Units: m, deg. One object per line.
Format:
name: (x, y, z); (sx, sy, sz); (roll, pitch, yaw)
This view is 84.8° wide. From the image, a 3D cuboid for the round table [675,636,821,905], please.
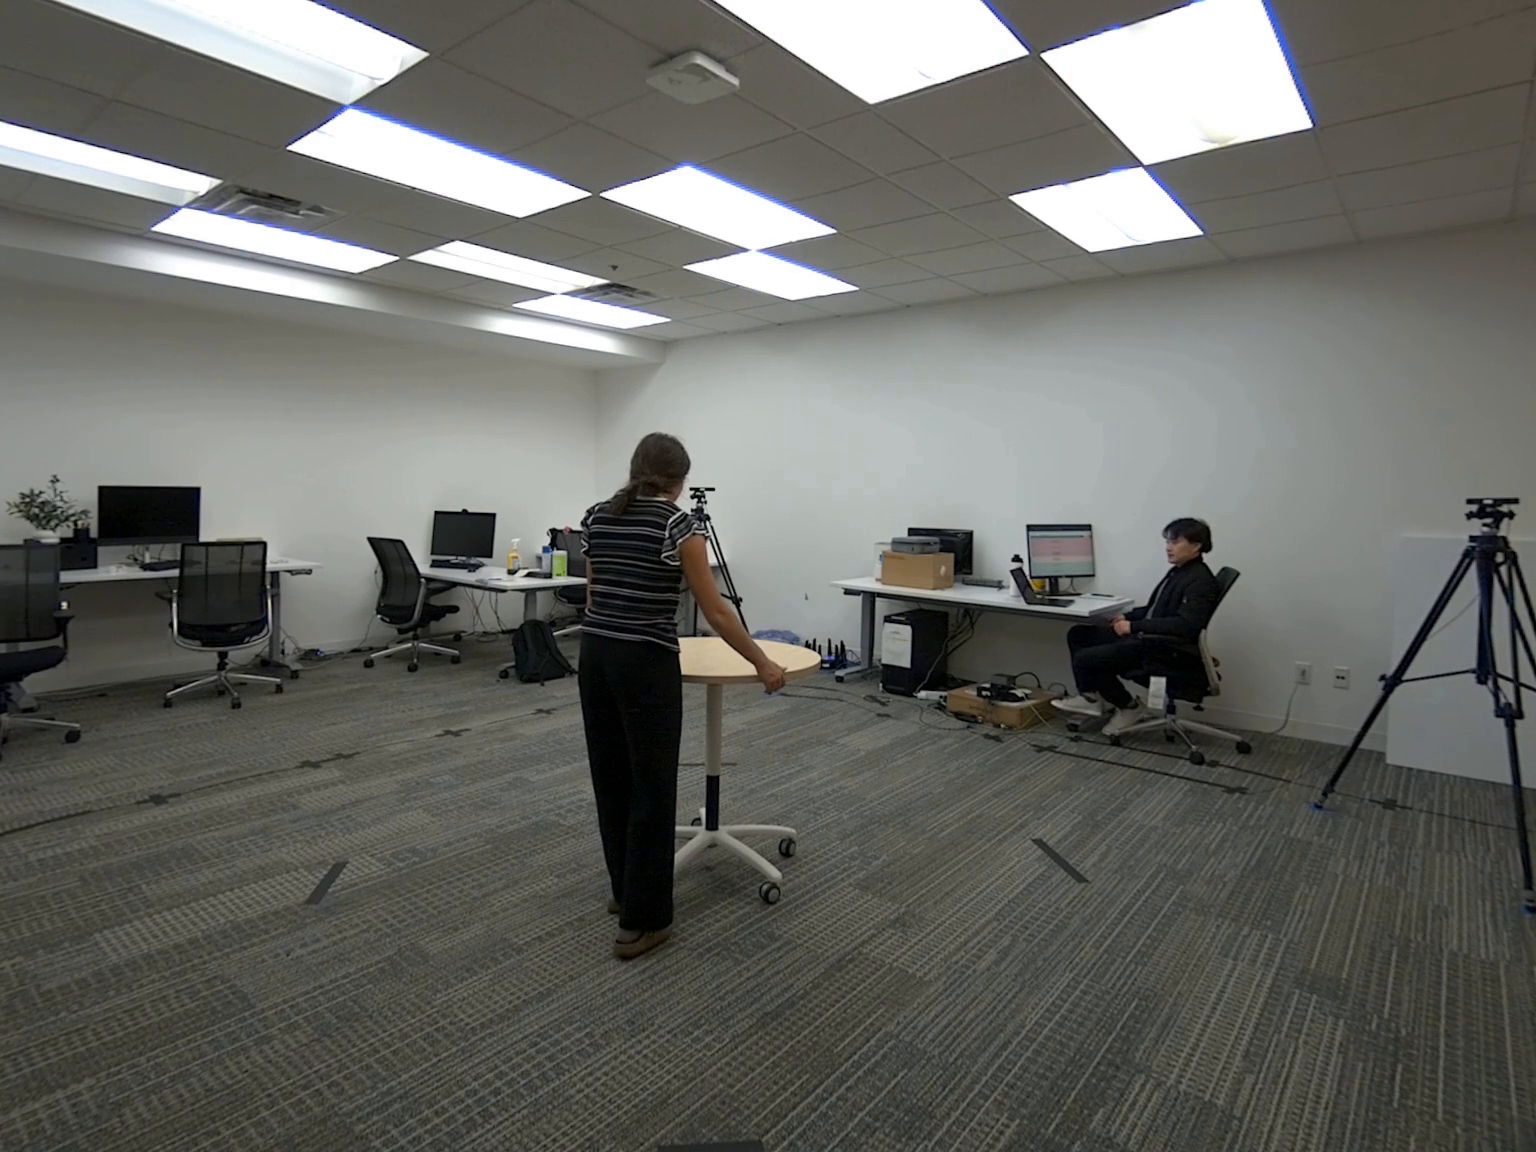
round table: (-0.204, 0.675, 3.112); (0.763, 0.792, 0.767); (1, 4, -2)
